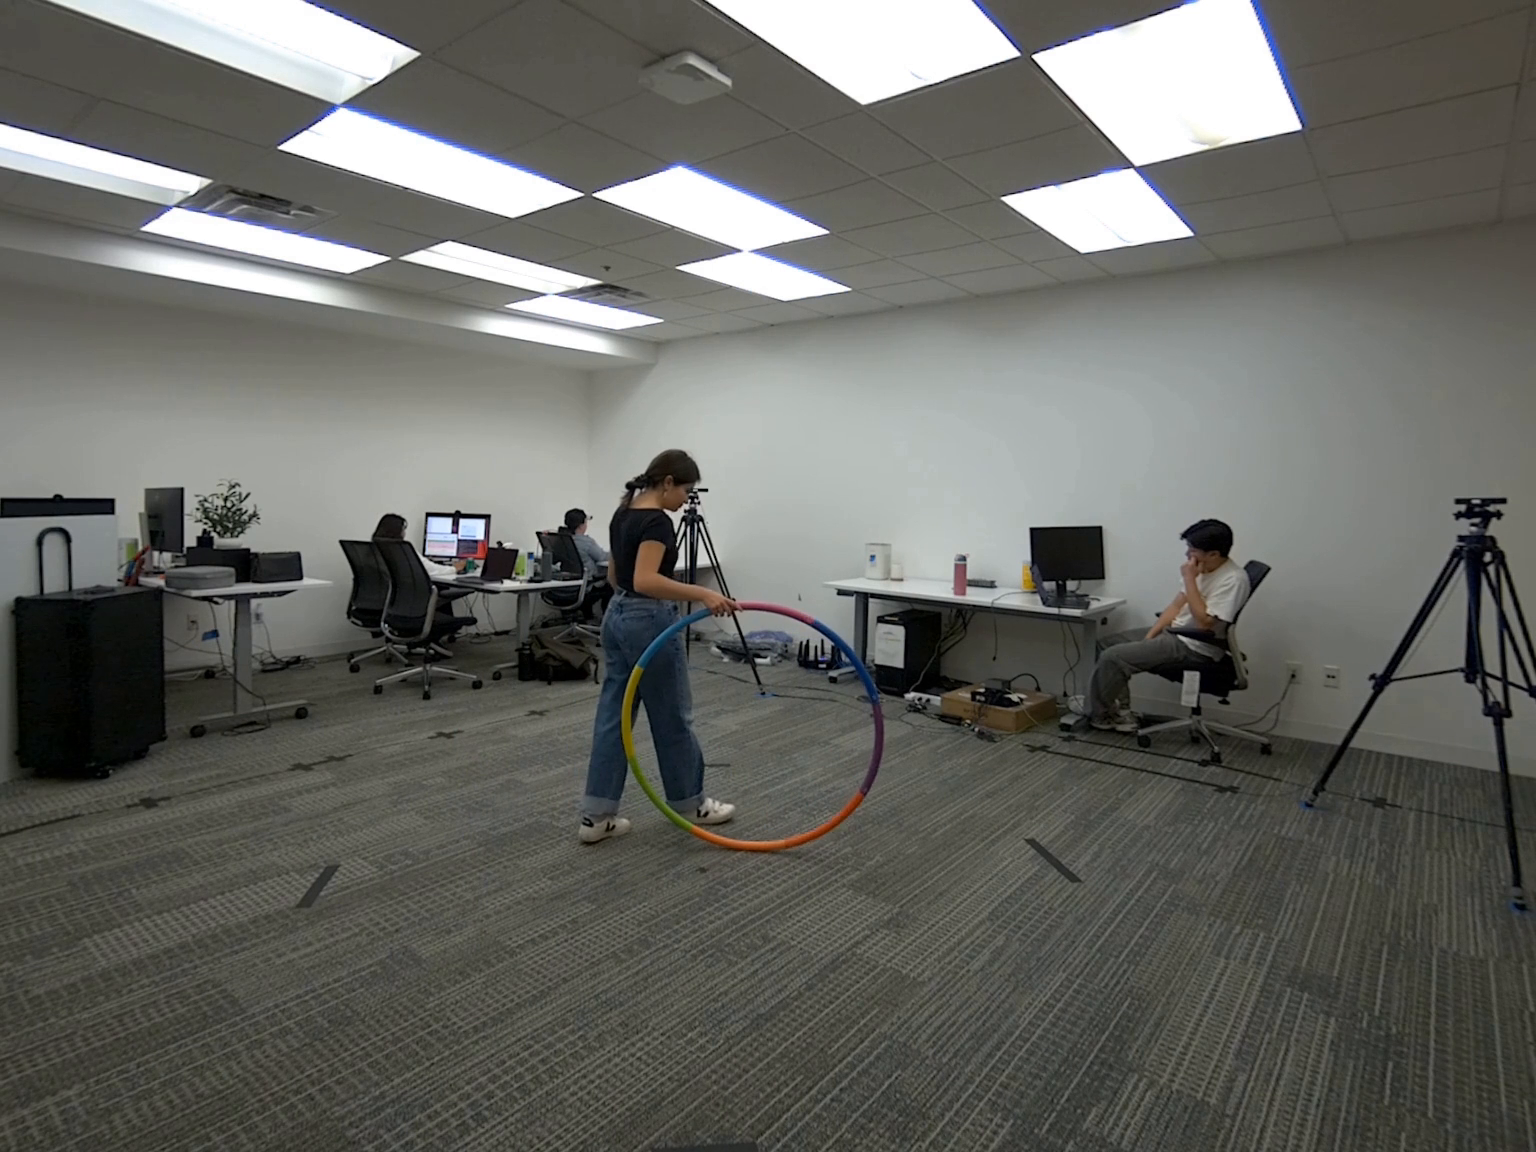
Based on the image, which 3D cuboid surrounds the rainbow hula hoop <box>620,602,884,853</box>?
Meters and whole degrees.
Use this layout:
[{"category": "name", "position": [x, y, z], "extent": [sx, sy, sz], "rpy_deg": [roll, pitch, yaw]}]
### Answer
[{"category": "rainbow hula hoop", "position": [-0.061, 0.568, 3.201], "extent": [0.984, 0.969, 0.035], "rpy_deg": [1, 10, 5]}]
